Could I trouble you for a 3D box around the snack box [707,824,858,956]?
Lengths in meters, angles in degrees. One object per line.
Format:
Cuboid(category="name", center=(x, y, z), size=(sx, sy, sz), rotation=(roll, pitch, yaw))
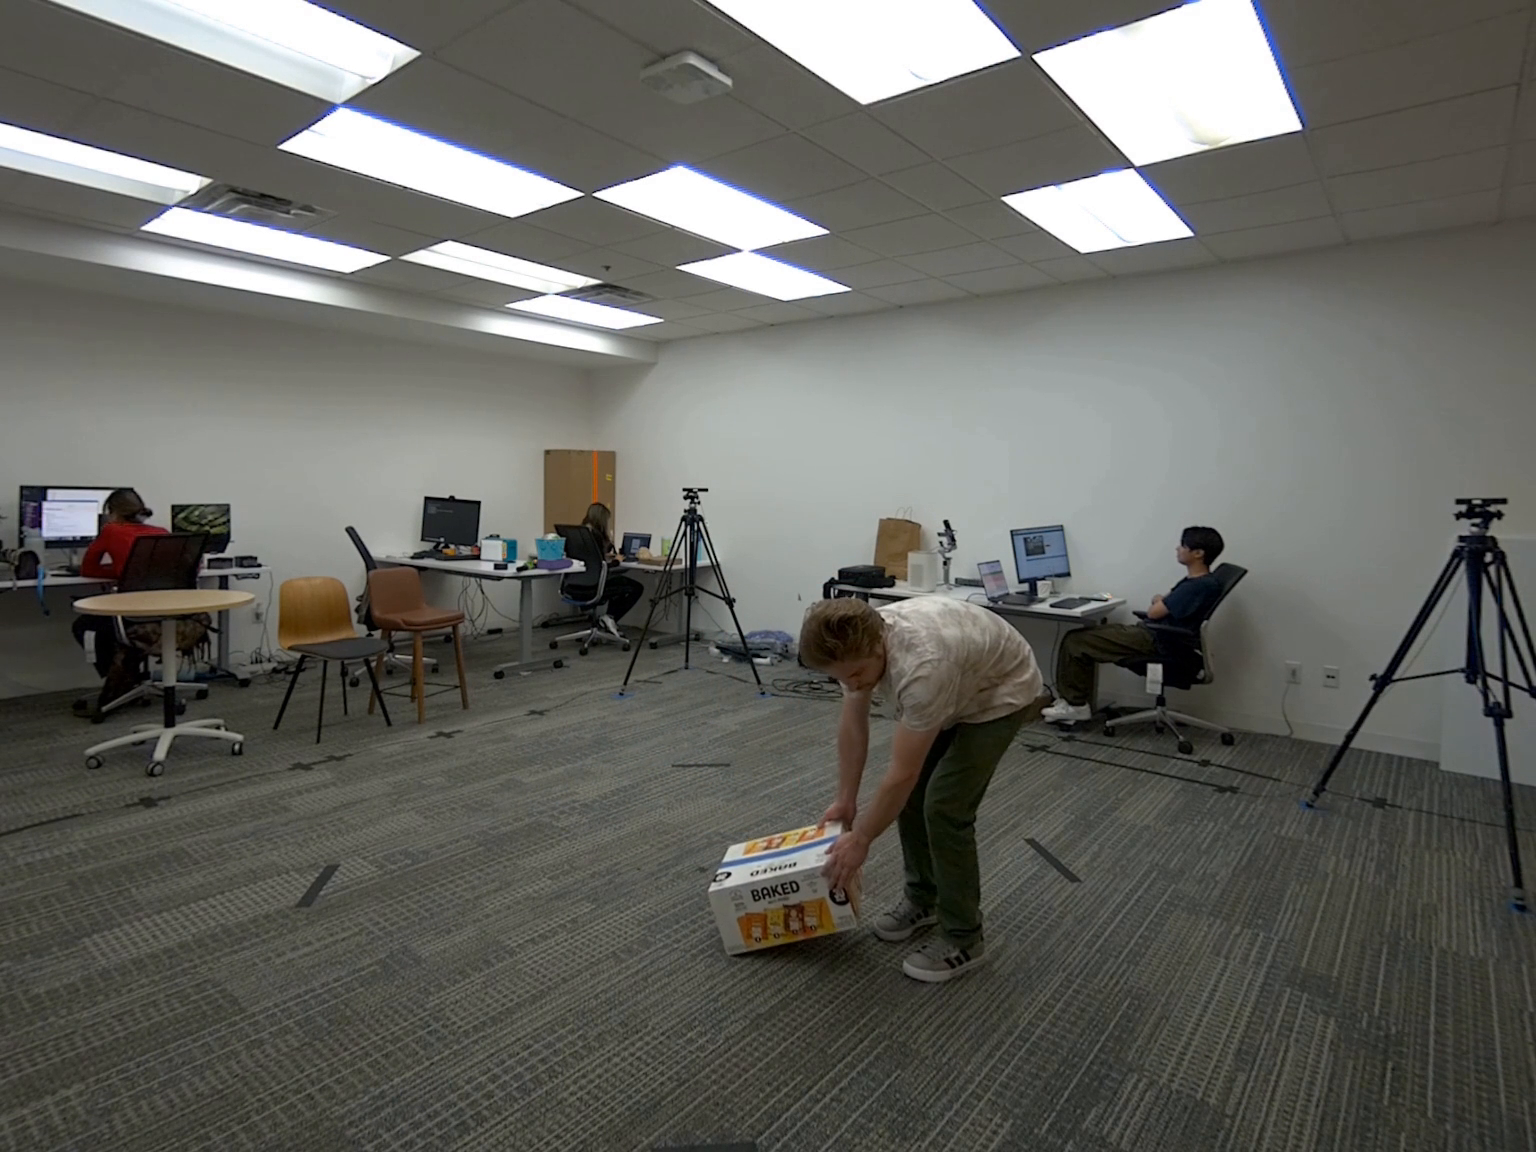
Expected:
Cuboid(category="snack box", center=(0.056, 0.959, 2.653), size=(0.408, 0.206, 0.337), rotation=(-17, 1, 11))
